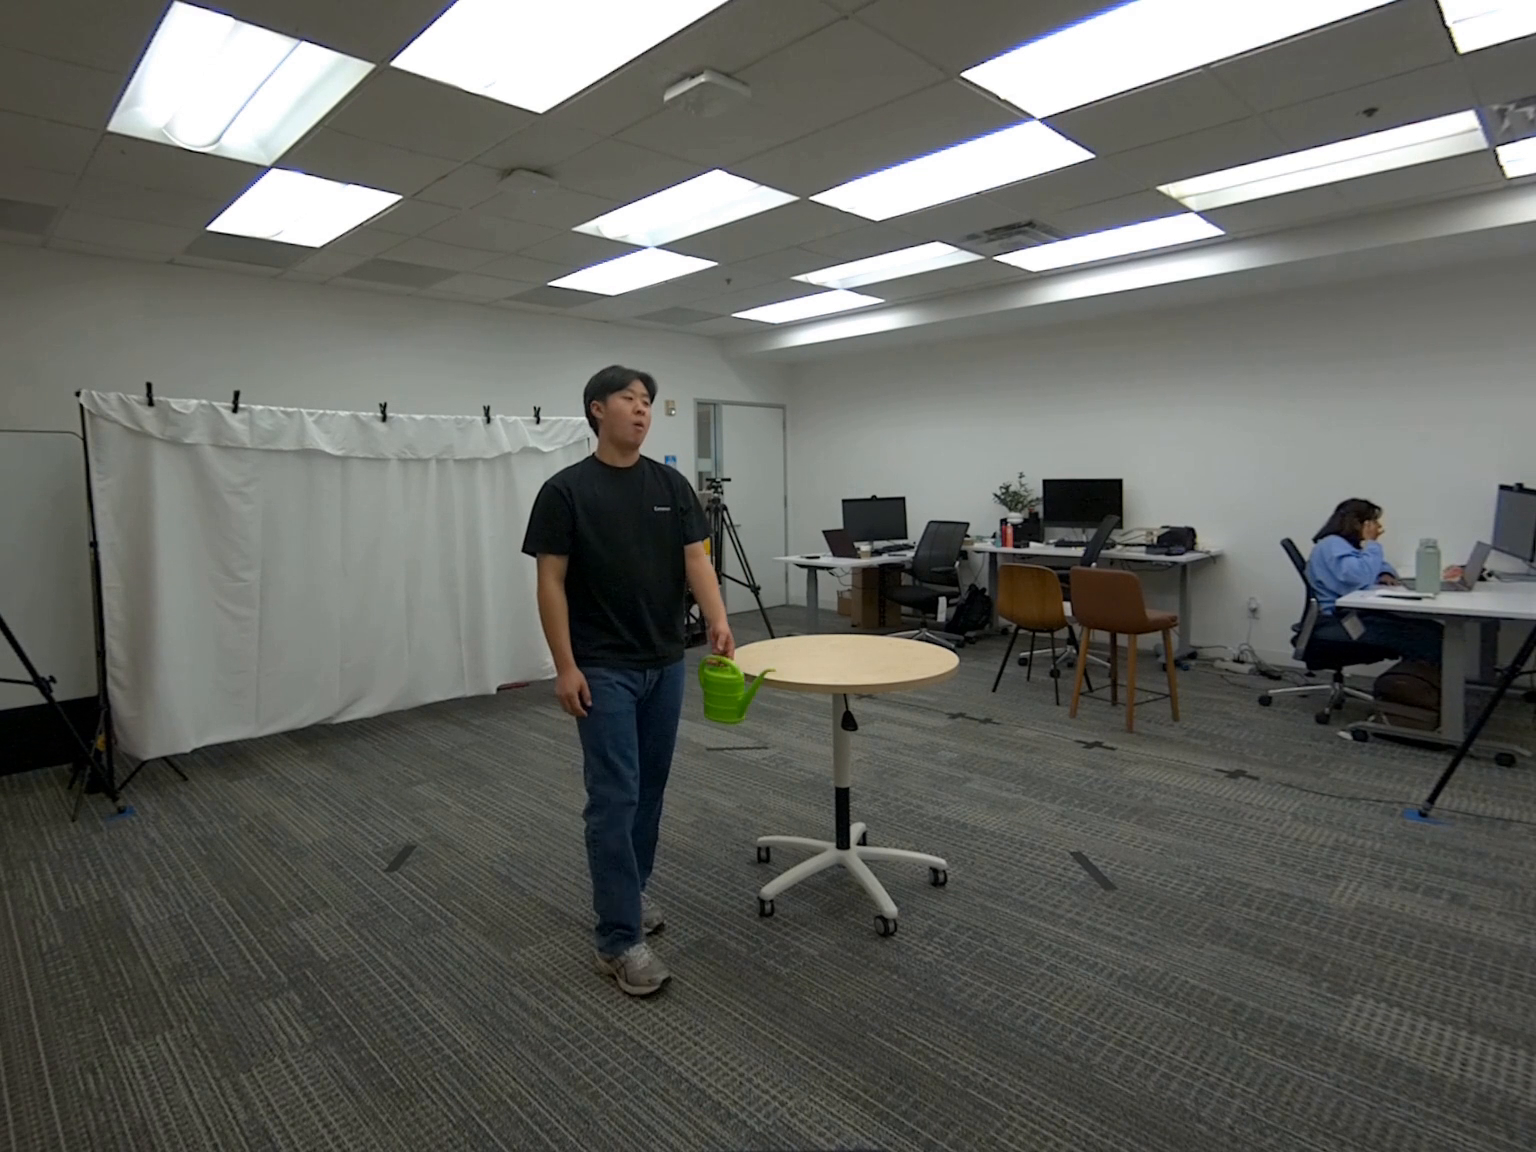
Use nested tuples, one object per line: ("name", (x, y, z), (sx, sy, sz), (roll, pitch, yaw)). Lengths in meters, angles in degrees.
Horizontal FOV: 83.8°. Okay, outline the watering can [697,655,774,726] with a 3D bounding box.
("watering can", (-0.095, 0.311, 2.360), (0.095, 0.176, 0.287), (-5, 7, -36))
